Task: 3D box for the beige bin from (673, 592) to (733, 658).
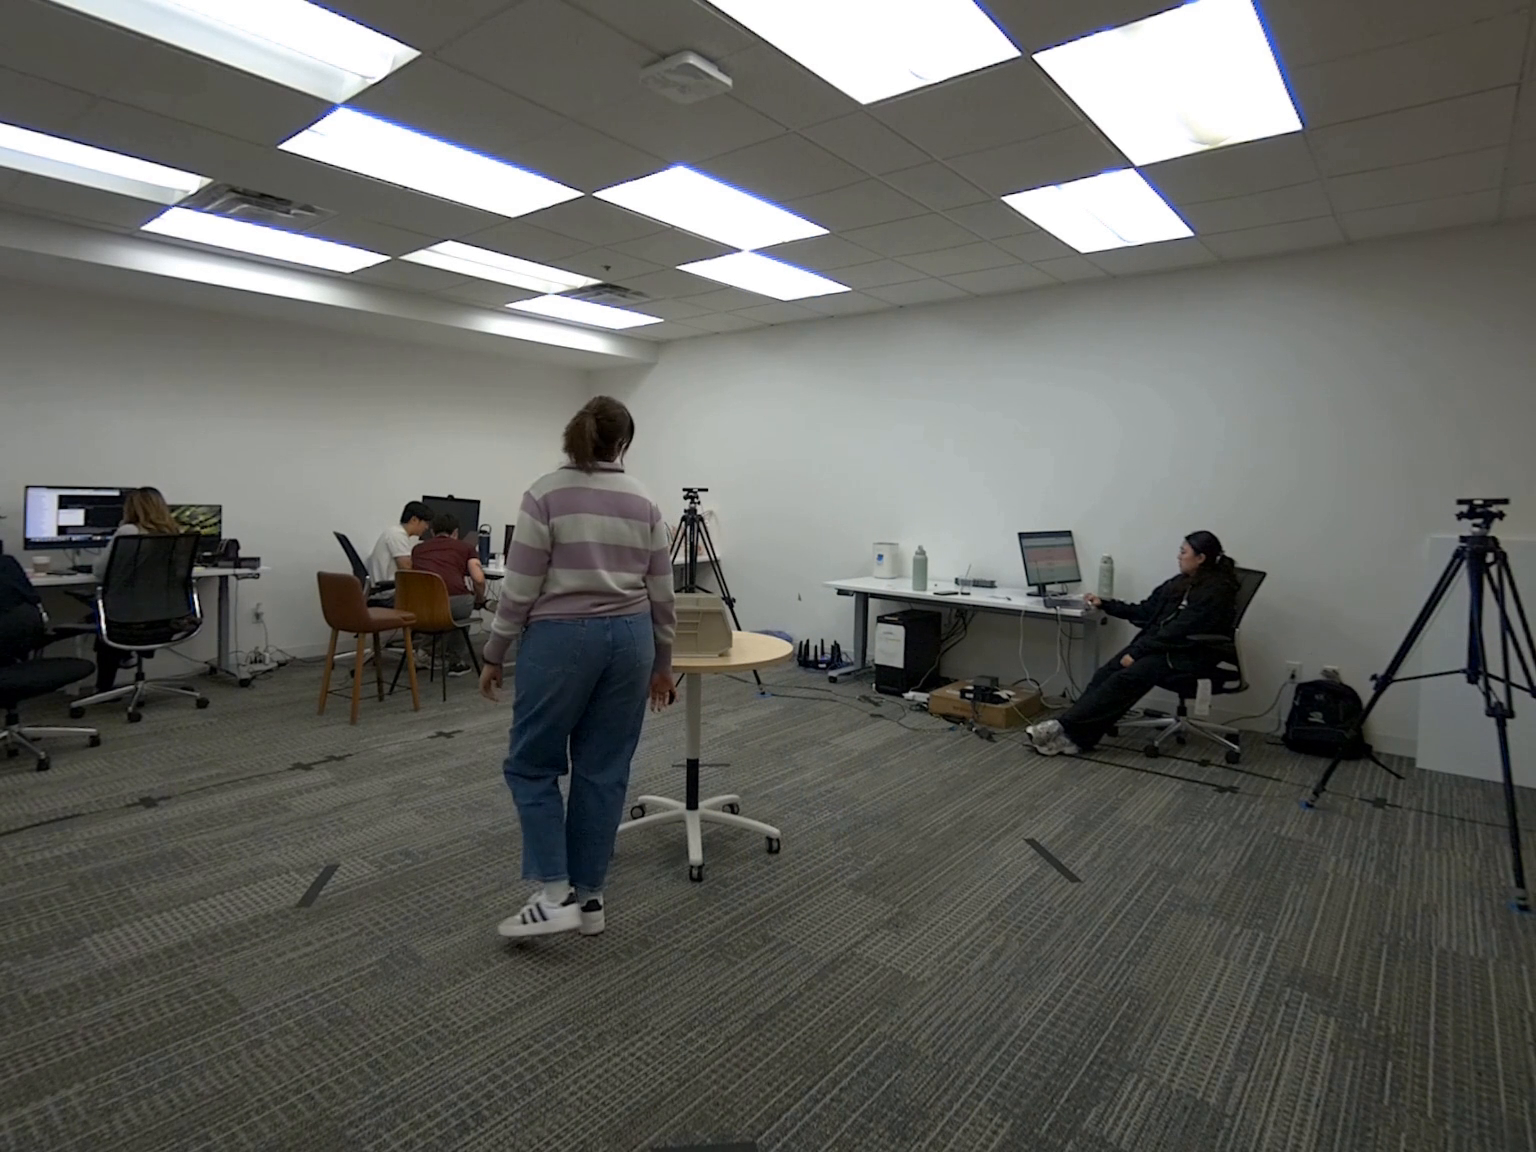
[{"bbox_3d":[-0.336,0.180,3.253,0.376,0.188,0.425,-1,6,-3],"label":"beige bin"}]
